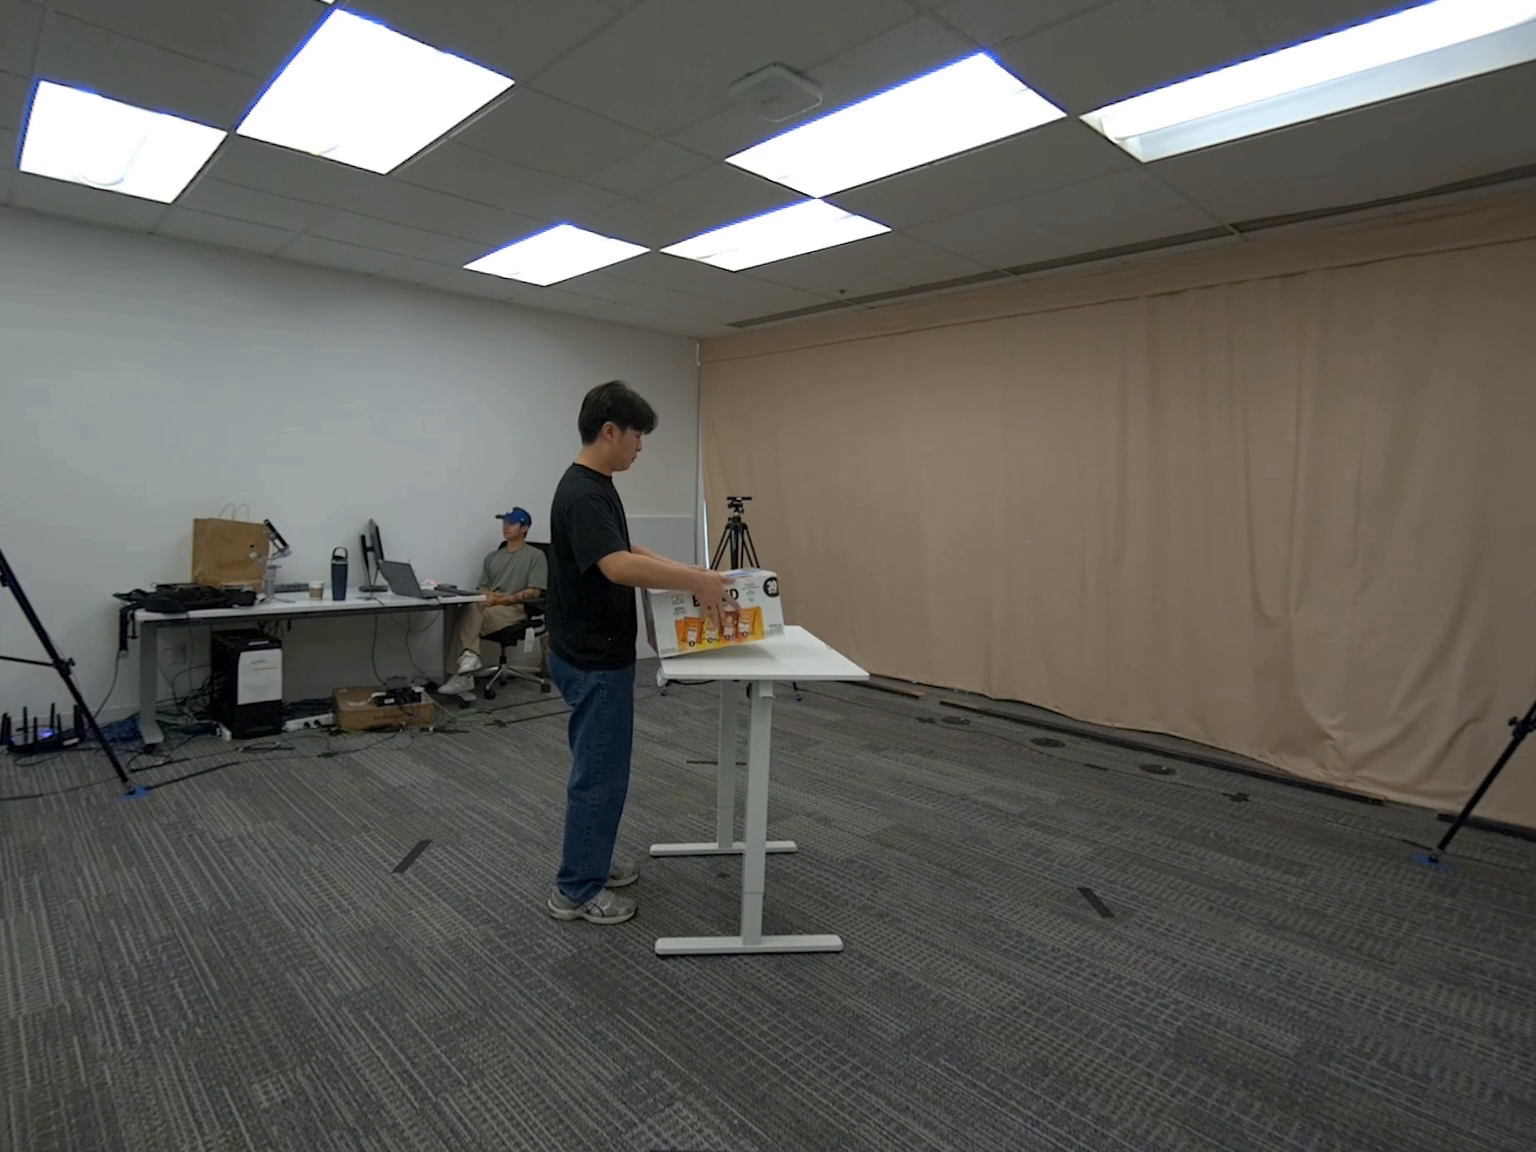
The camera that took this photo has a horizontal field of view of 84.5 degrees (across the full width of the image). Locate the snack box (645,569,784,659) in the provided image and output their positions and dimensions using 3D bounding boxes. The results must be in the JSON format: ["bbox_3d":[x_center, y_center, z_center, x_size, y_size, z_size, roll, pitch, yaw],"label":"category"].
[{"bbox_3d":[-0.200,0.108,2.768,0.402,0.205,0.344,-9,6,-13],"label":"snack box"}]
